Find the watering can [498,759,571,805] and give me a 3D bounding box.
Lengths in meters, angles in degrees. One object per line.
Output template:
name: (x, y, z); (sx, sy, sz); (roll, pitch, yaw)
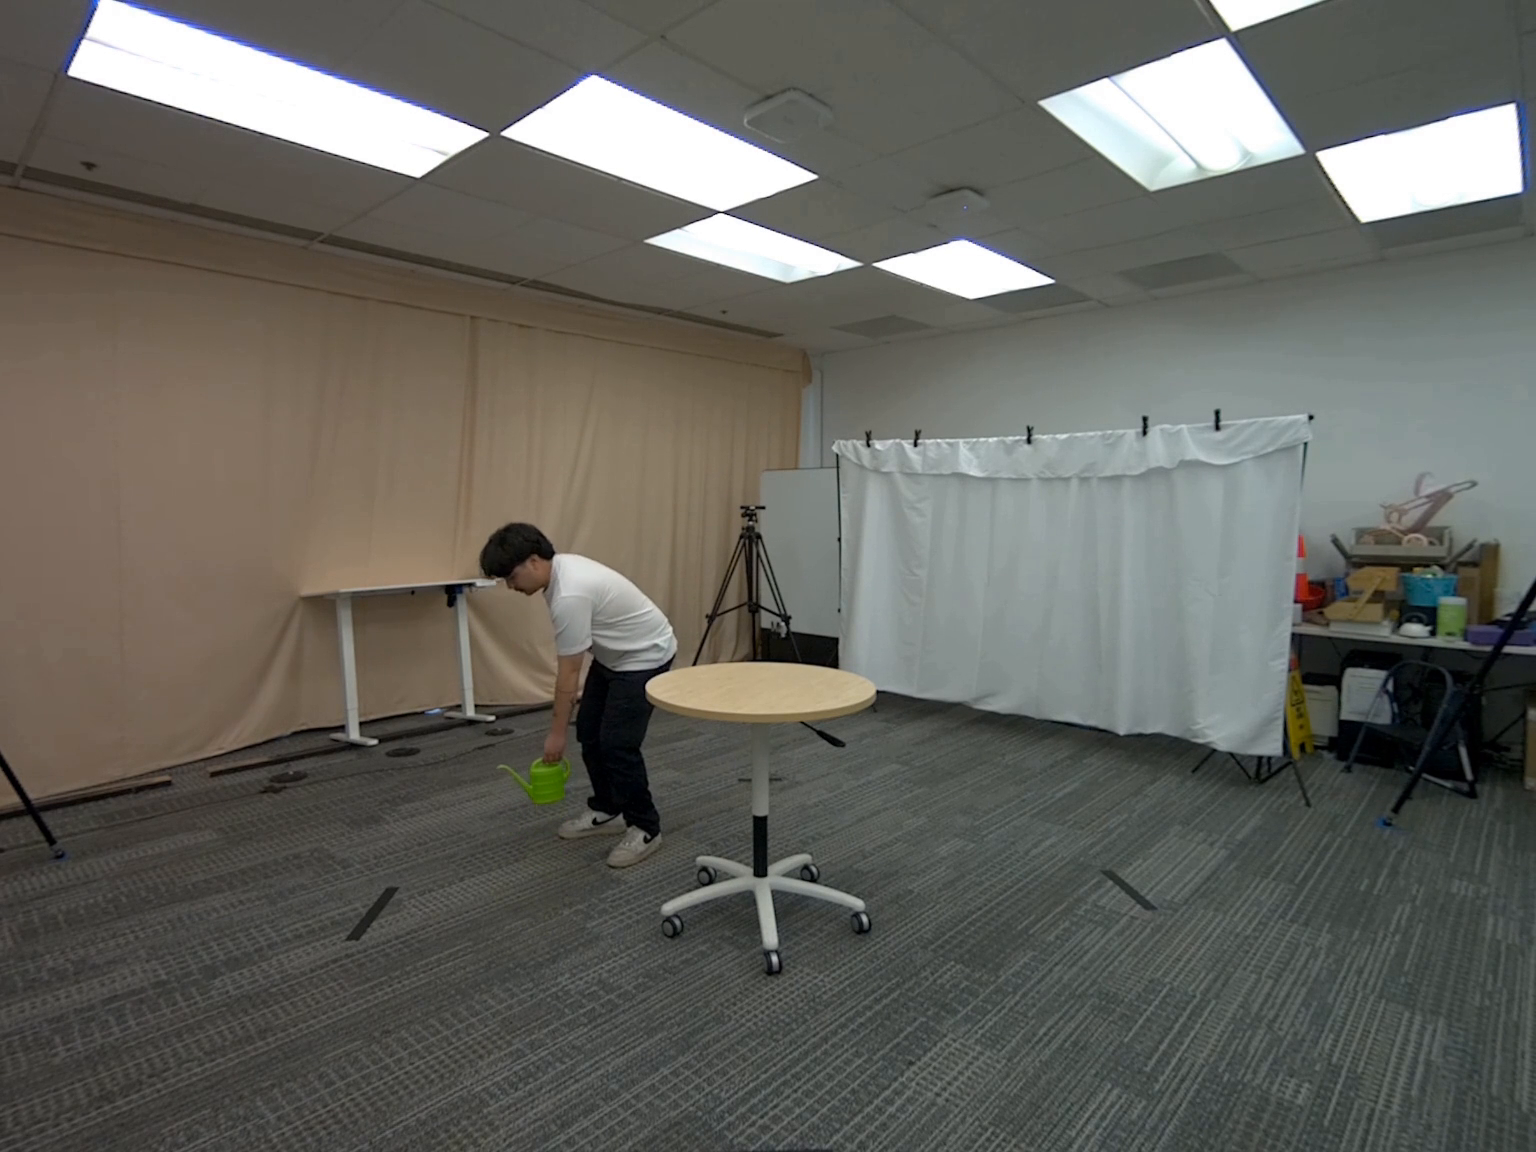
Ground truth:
watering can: (-0.919, 0.803, 3.306); (0.275, 0.176, 0.099); (-1, 2, -11)
